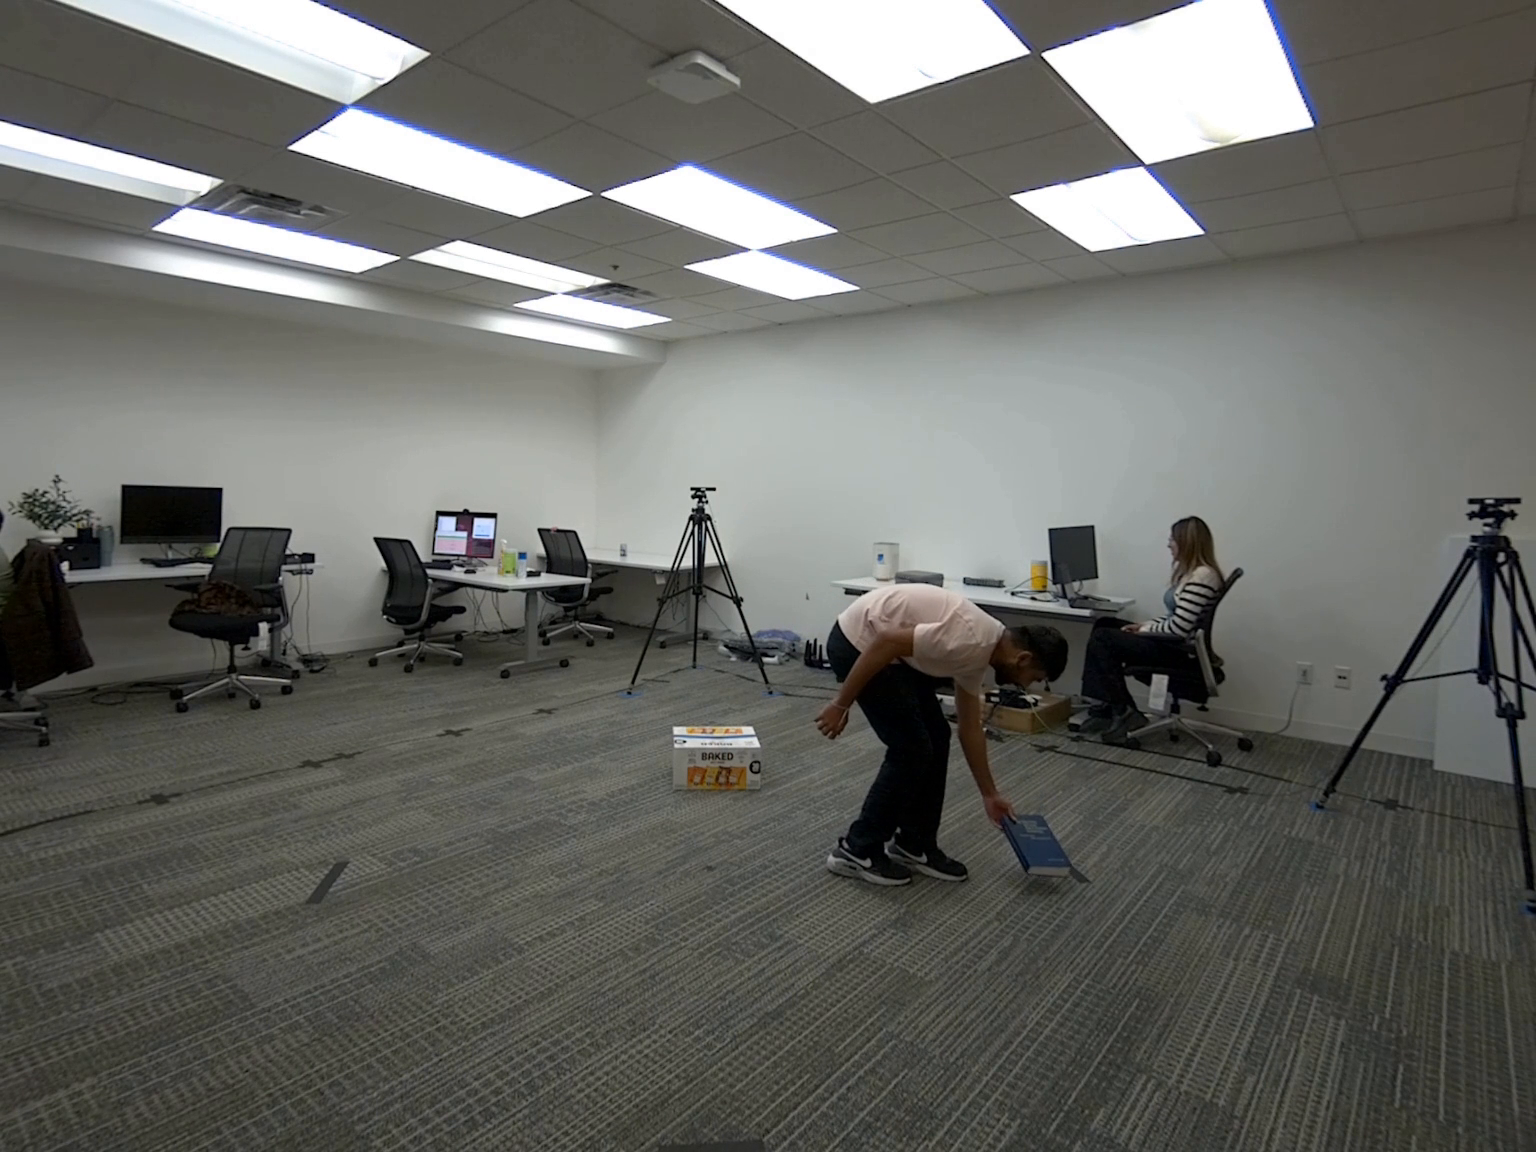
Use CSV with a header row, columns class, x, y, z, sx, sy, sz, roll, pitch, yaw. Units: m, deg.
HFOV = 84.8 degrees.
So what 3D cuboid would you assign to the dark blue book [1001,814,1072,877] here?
class,x,y,z,sx,sy,sz,roll,pitch,yaw
dark blue book,0.959,0.966,3.076,0.161,0.044,0.253,4,28,-12
